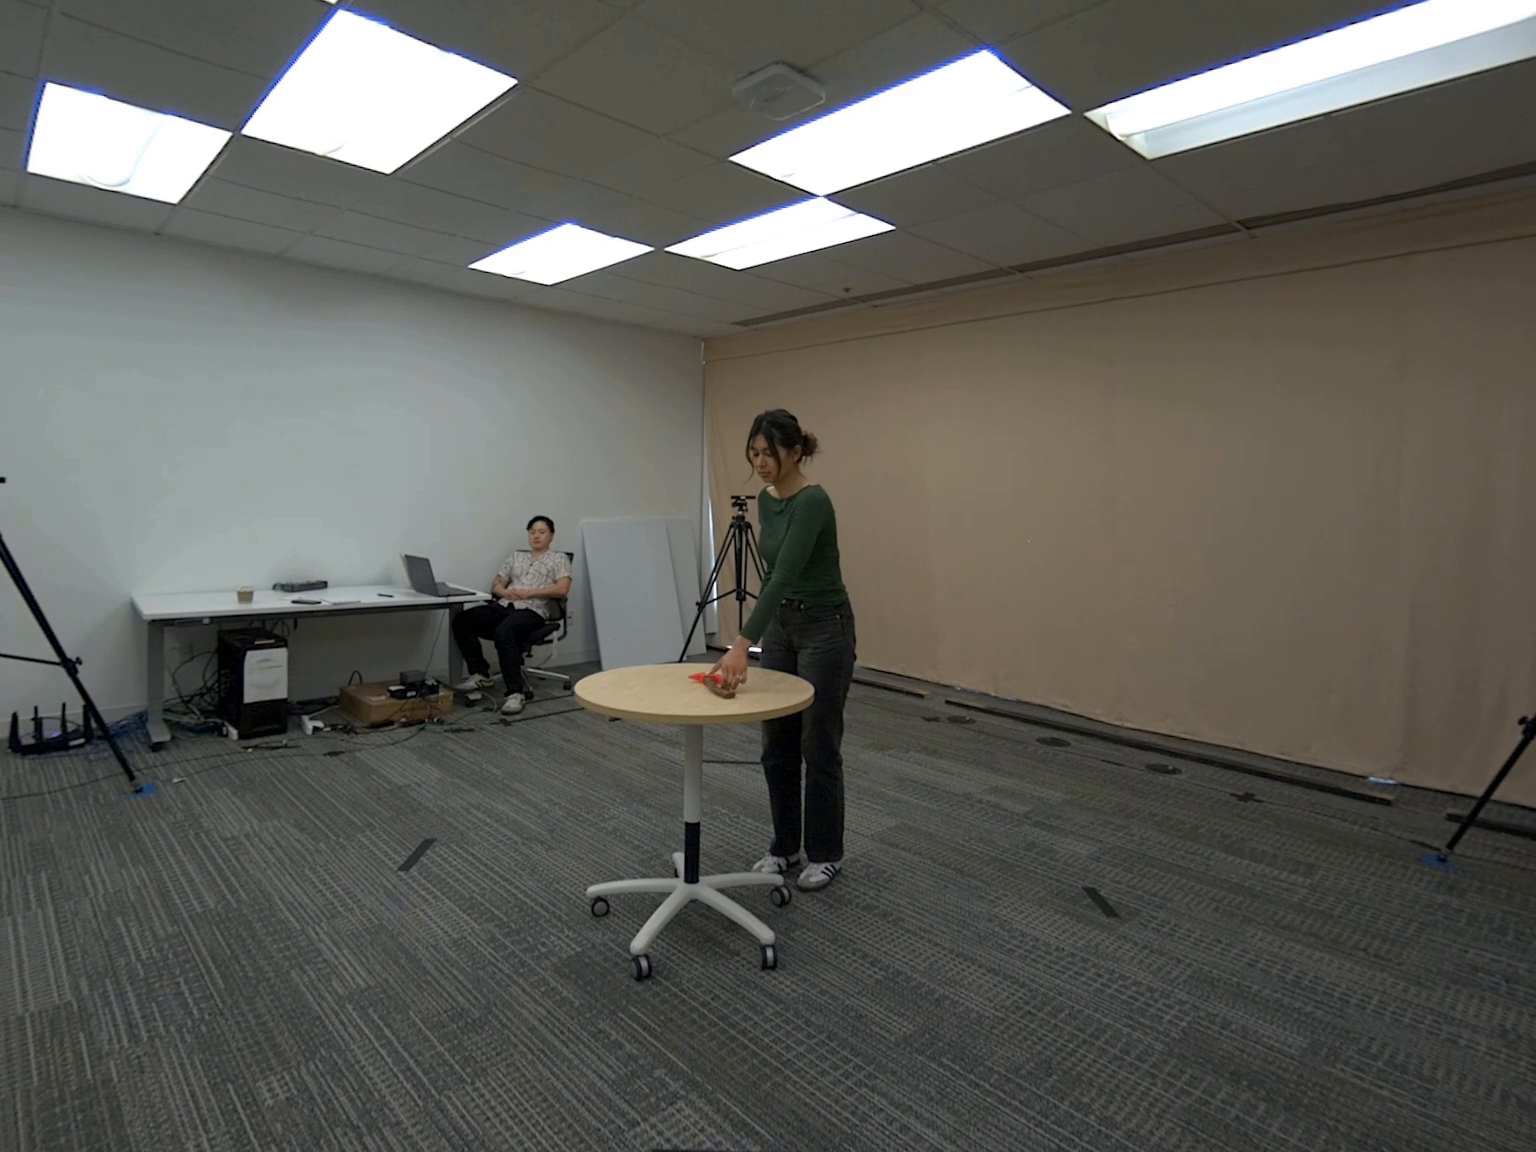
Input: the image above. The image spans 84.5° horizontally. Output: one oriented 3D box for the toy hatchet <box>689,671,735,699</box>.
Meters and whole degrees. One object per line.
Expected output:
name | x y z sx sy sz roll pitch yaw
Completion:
toy hatchet | -0.157 0.350 2.663 0.128 0.029 0.276 4 5 -27
